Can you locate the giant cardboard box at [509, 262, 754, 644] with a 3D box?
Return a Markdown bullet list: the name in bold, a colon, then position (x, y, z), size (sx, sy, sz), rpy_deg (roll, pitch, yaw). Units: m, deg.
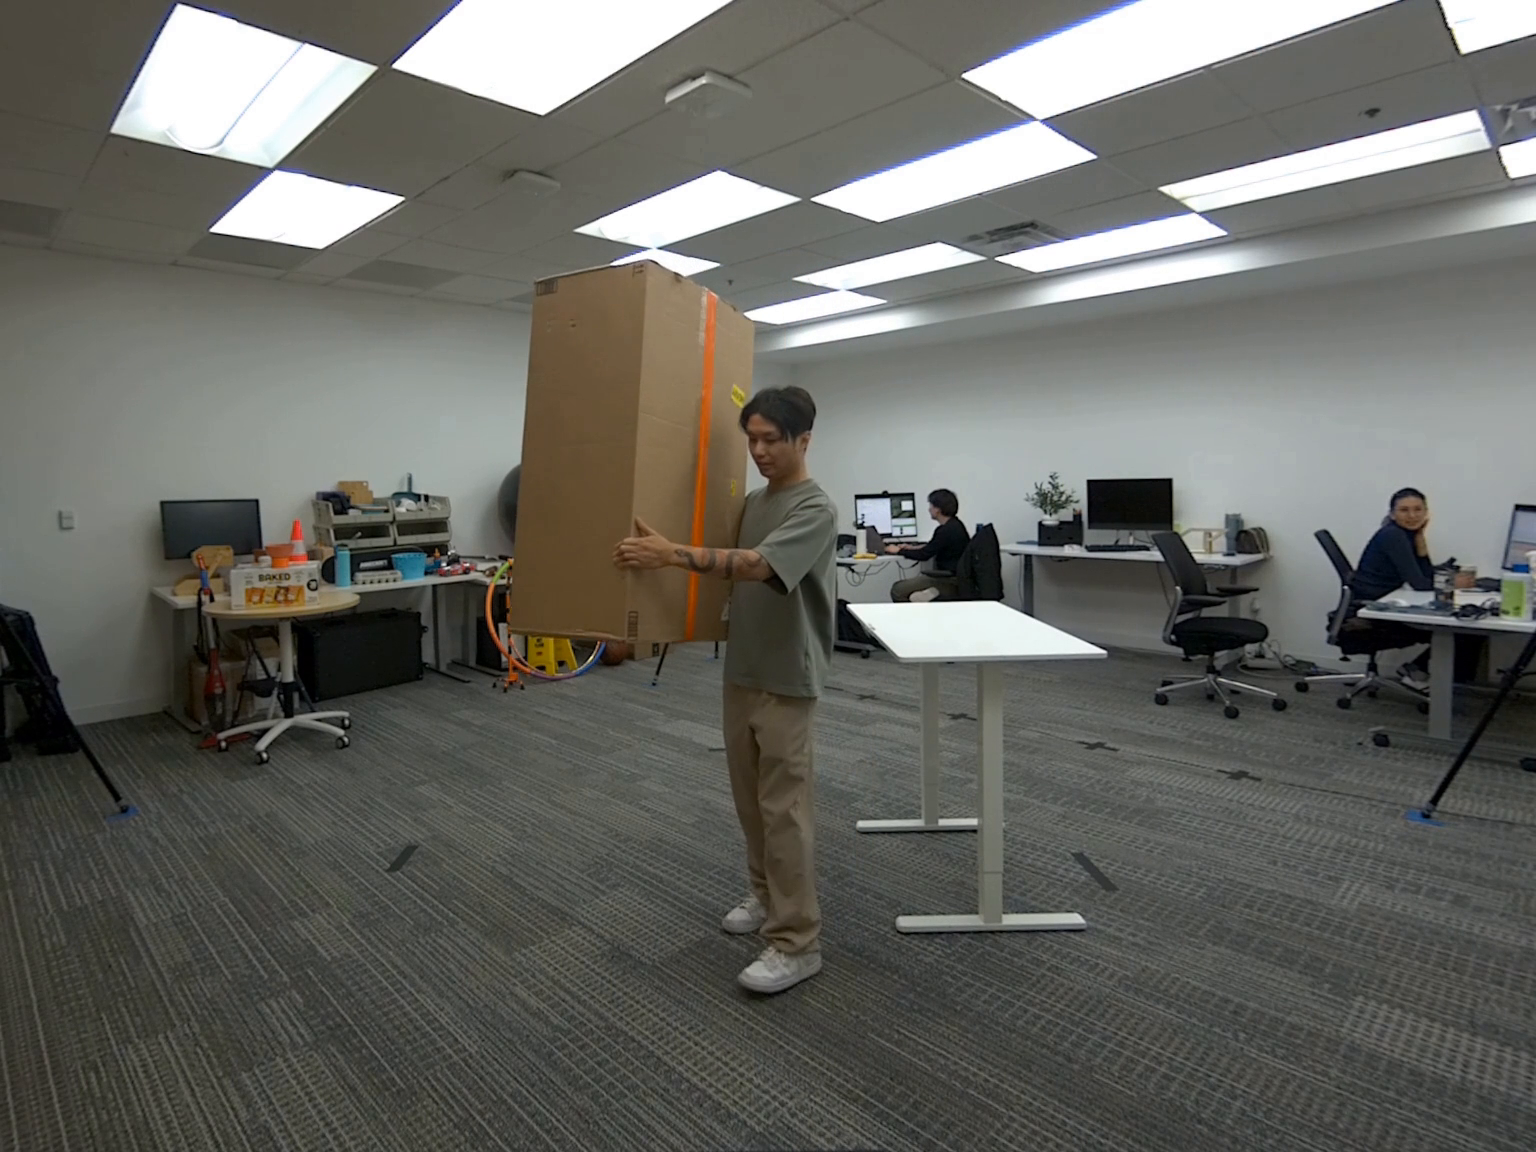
- **giant cardboard box**: position (-0.382, -0.326, 2.565), size (0.437, 1.030, 0.560), rpy_deg (1, -4, 30)
